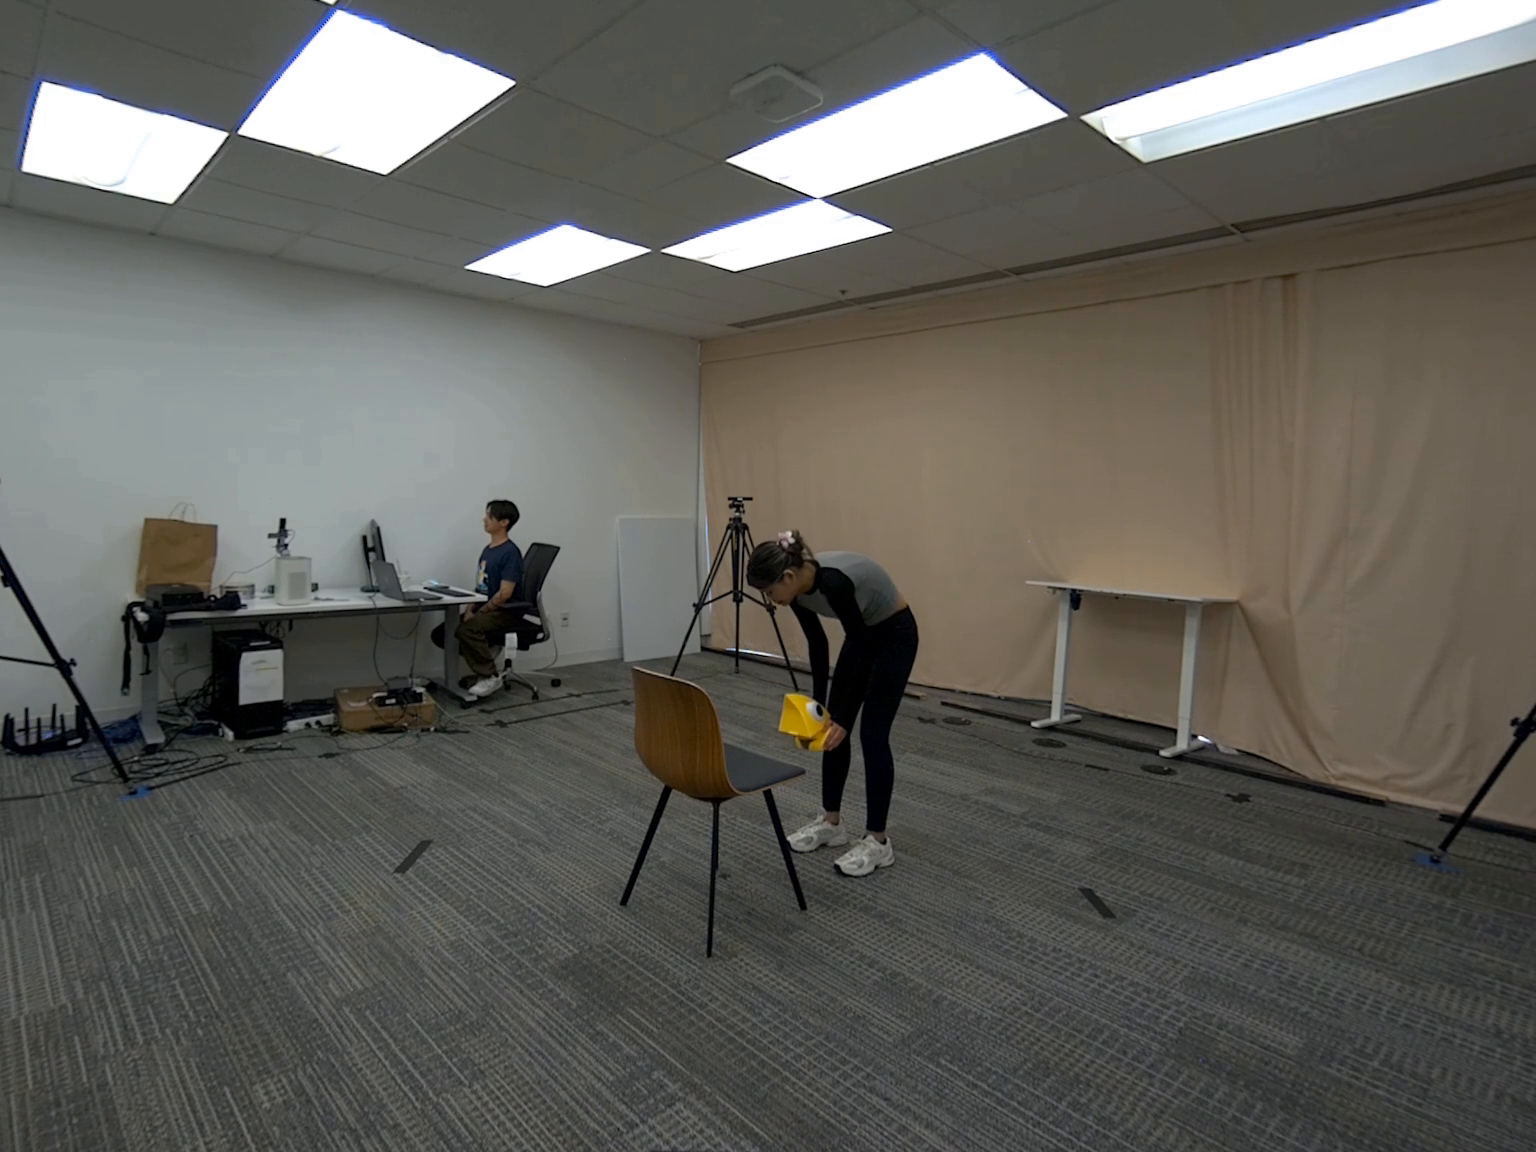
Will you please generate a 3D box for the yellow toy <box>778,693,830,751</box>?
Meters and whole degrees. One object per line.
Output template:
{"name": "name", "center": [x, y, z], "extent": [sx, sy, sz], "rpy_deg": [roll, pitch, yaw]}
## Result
{"name": "yellow toy", "center": [0.148, 0.525, 3.224], "extent": [0.191, 0.228, 0.208], "rpy_deg": [-28, 11, -30]}
